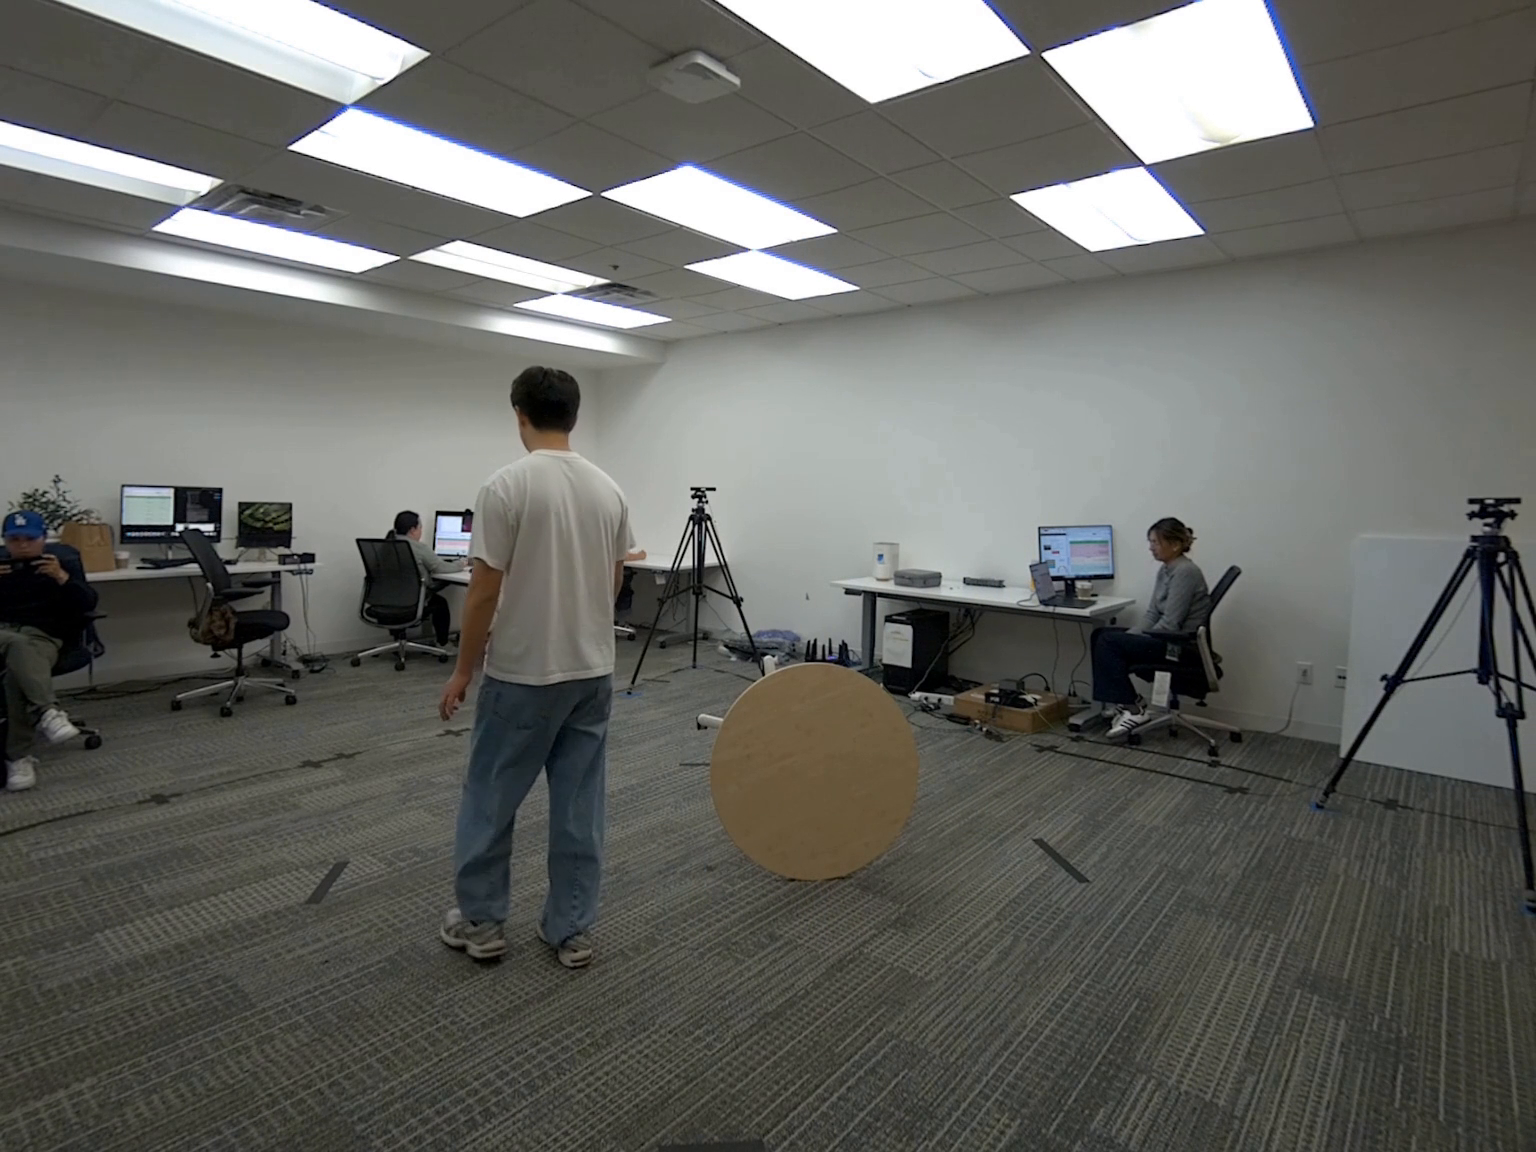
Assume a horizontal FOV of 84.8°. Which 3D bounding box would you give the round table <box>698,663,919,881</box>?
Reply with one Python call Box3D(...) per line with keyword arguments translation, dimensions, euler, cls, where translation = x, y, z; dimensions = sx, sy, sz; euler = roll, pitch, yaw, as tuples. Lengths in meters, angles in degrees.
Box3D(translation=(0.079, 0.694, 3.443), dimensions=(0.776, 0.787, 0.794), euler=(0, -2, -11), cls="round table")
